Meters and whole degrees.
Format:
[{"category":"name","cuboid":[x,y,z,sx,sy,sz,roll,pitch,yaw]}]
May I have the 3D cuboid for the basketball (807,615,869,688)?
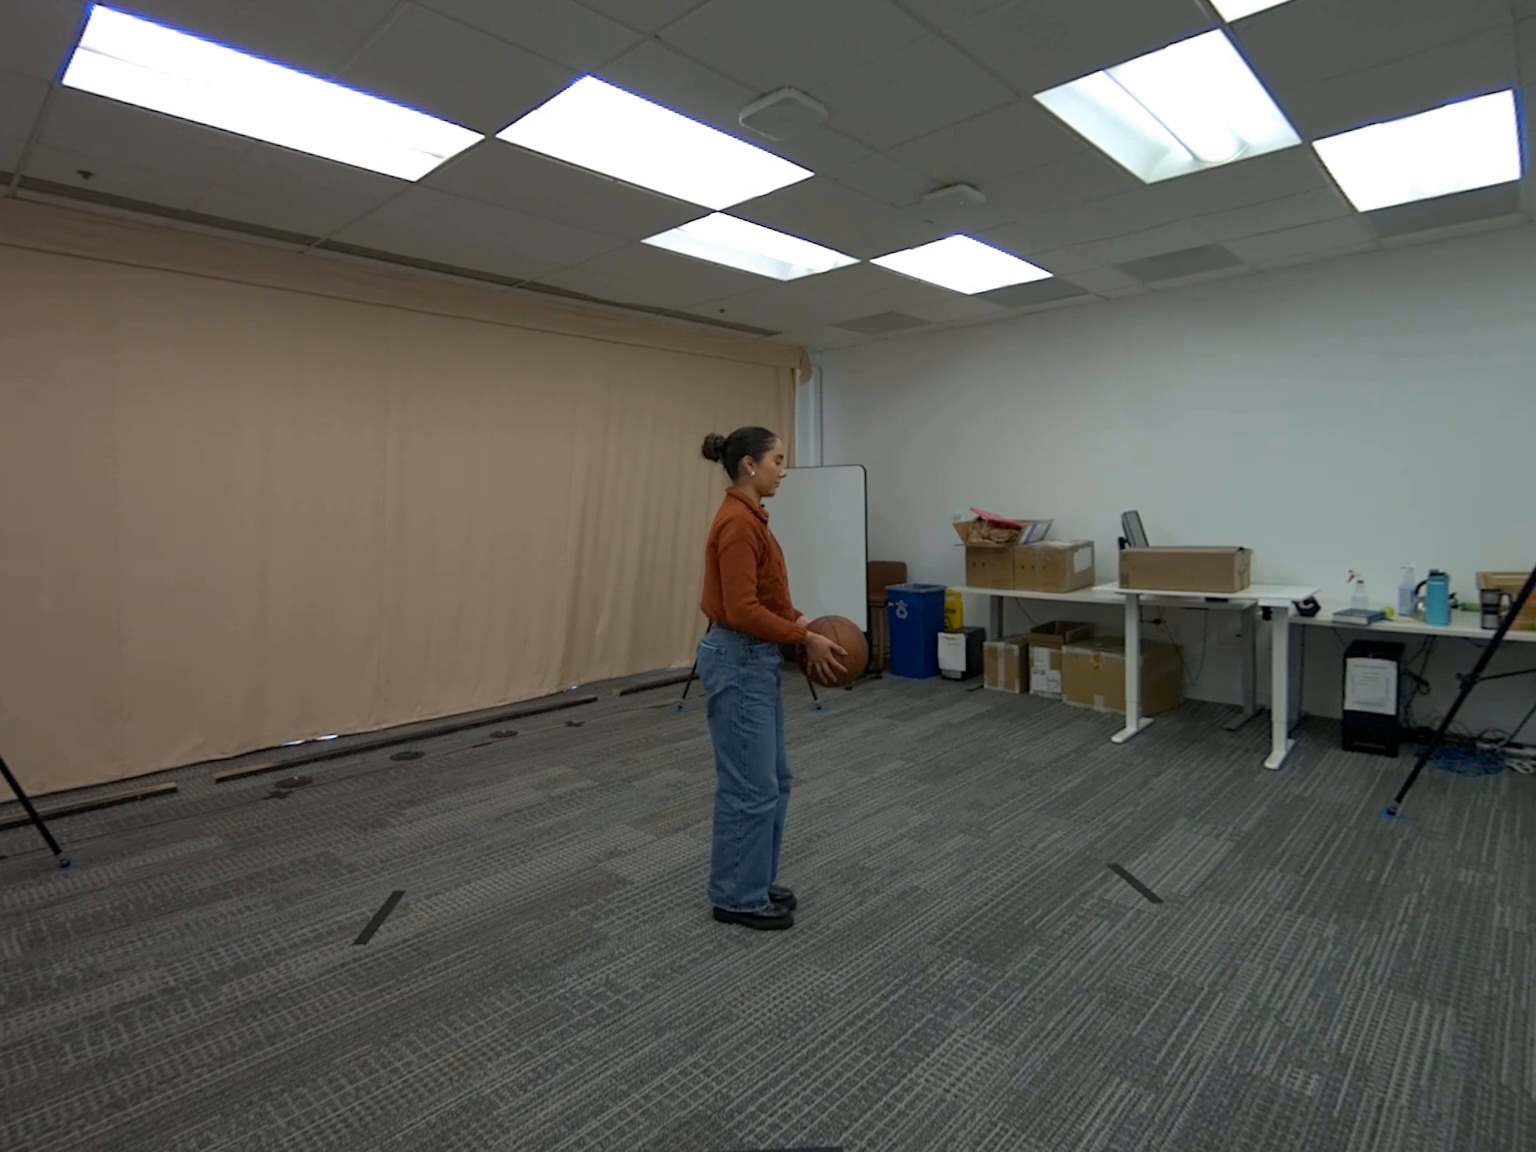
[{"category":"basketball","cuboid":[0.215,0.244,2.755,0.236,0.235,0.237,-1,4,-2]}]
